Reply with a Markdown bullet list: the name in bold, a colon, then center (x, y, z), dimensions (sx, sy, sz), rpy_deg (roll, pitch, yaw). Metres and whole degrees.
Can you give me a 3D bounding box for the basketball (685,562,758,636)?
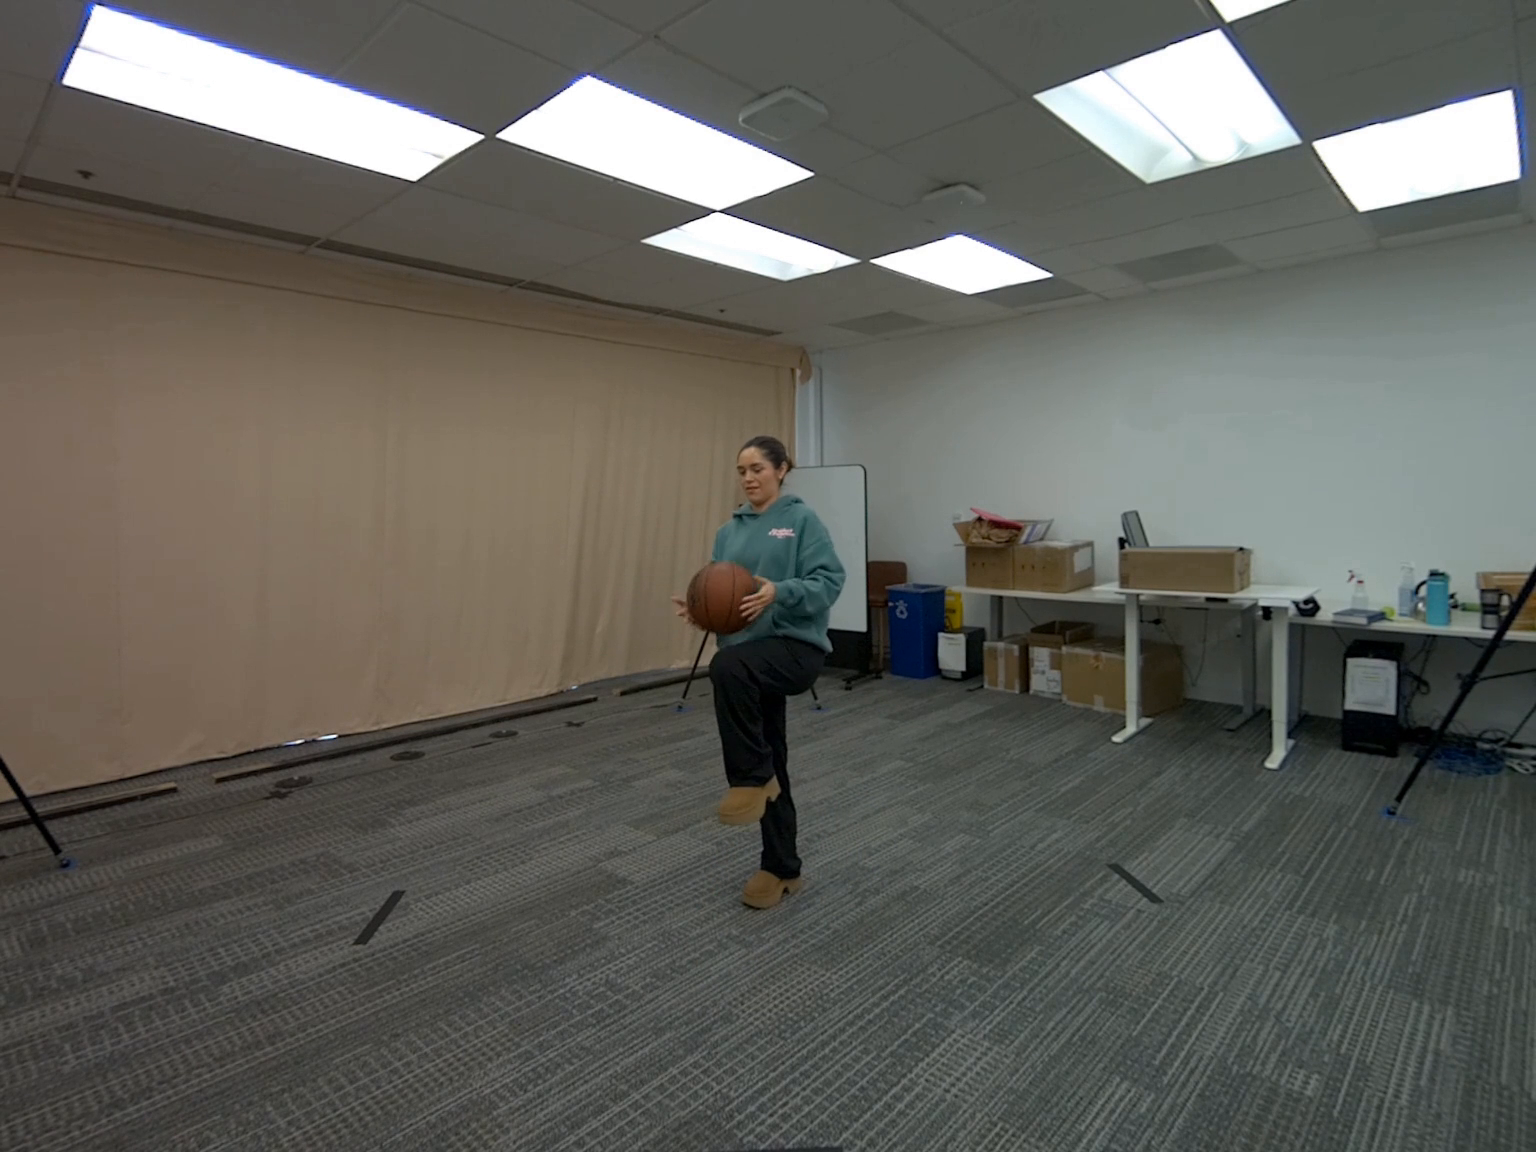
- **basketball**: center (-0.137, 0.060, 2.710), dimensions (0.236, 0.235, 0.237), rpy_deg (-1, 4, -2)
